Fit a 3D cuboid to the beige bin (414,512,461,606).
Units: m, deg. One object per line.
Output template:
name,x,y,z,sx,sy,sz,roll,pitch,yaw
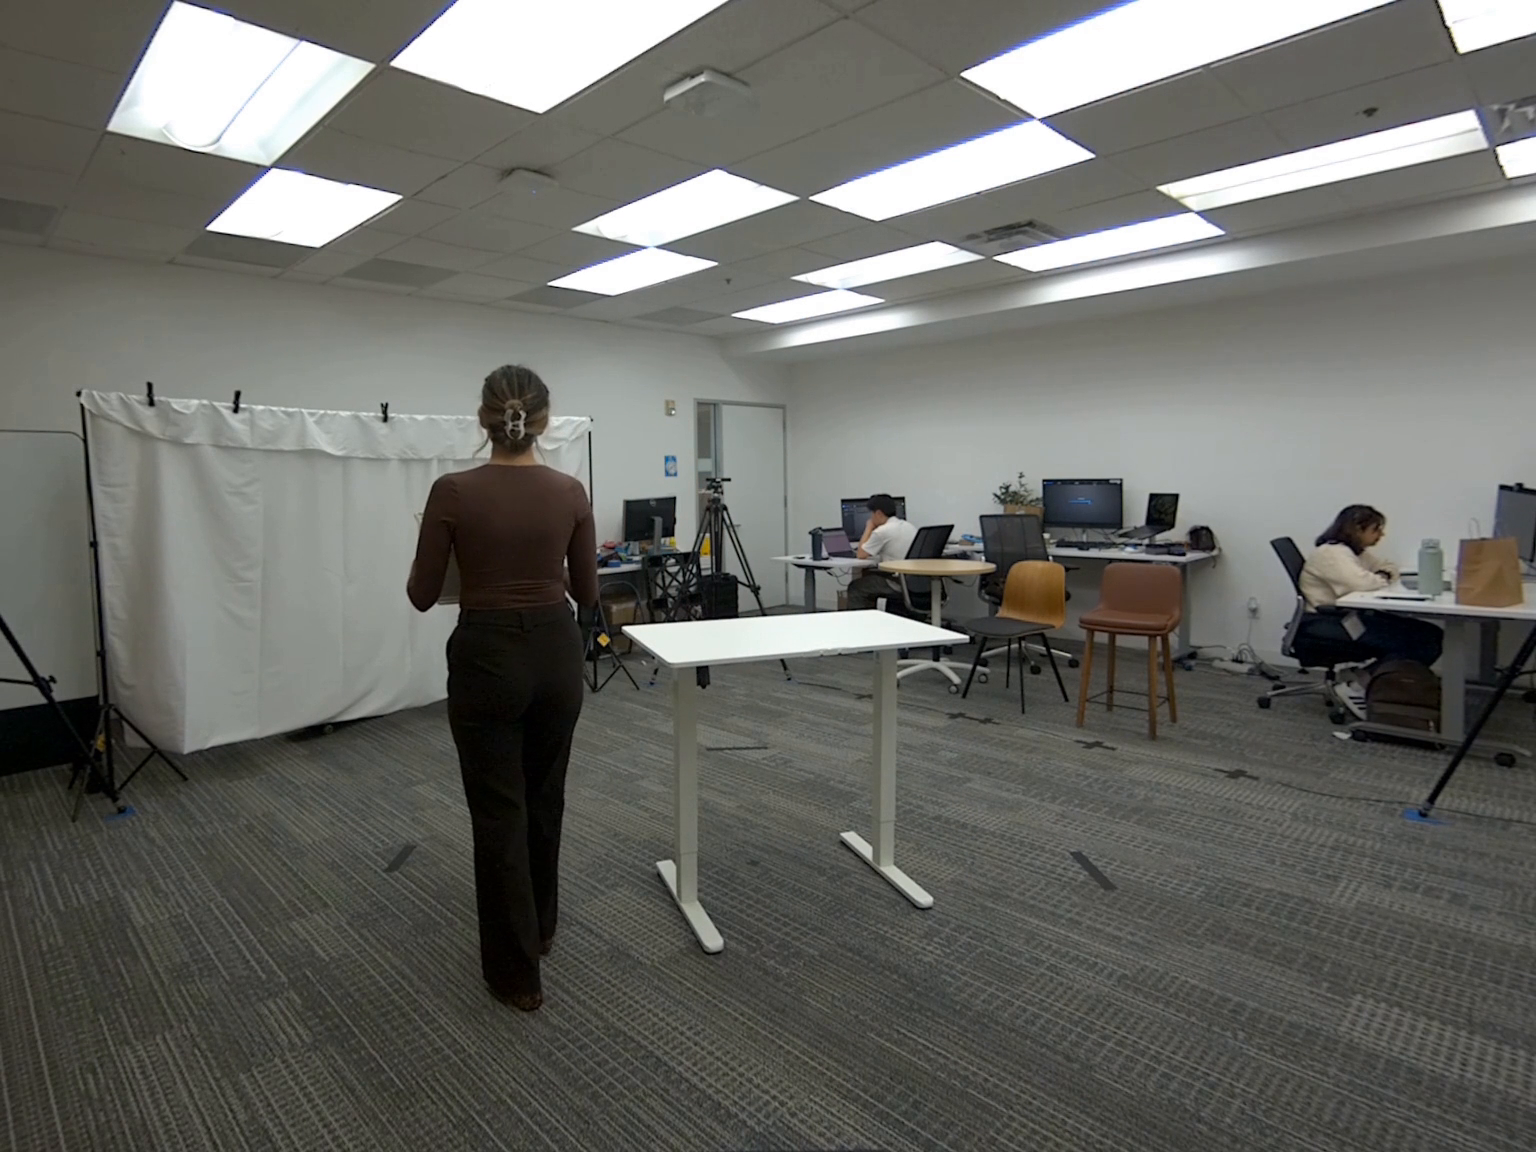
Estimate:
beige bin,-0.859,-0.069,2.662,0.369,0.187,0.437,-5,18,-28
